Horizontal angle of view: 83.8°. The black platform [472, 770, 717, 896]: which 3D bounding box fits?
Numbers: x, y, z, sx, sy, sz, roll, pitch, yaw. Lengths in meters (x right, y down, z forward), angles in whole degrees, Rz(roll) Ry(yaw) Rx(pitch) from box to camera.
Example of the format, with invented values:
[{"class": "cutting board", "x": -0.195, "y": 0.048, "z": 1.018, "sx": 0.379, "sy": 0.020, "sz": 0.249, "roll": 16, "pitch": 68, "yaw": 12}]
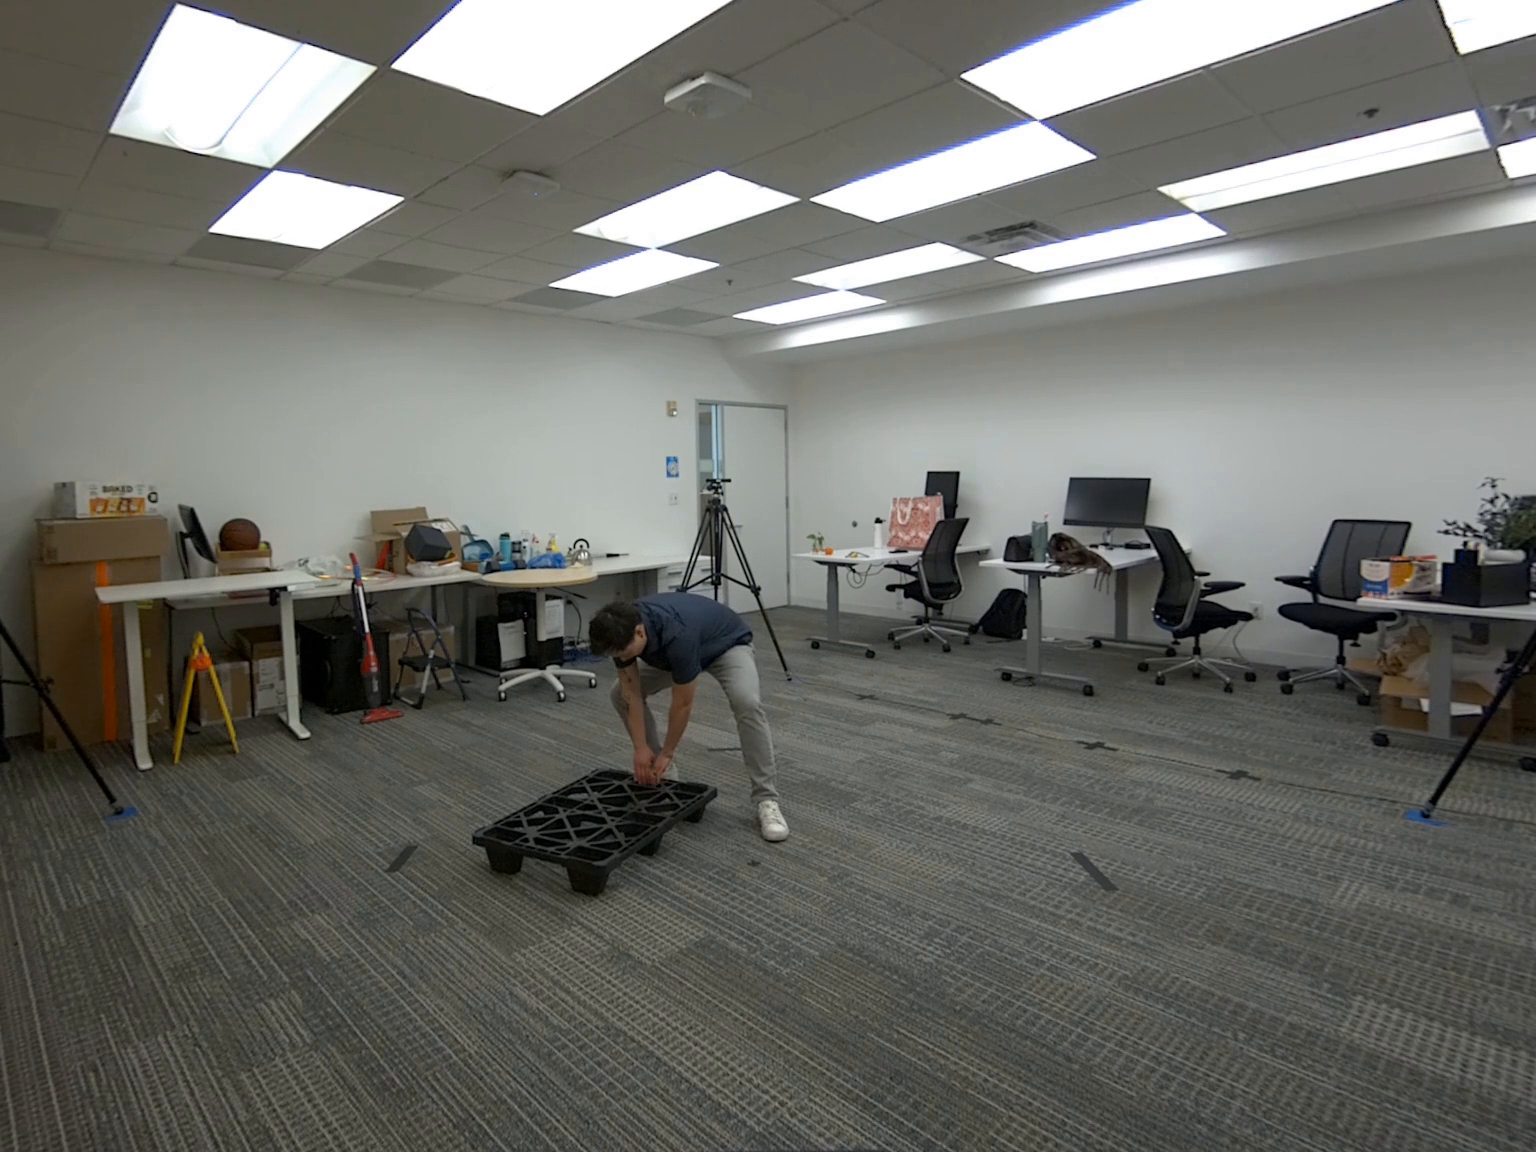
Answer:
[{"class": "black platform", "x": -0.629, "y": 0.962, "z": 3.302, "sx": 0.620, "sy": 0.142, "sz": 0.790, "roll": 2, "pitch": 7, "yaw": 27}]
